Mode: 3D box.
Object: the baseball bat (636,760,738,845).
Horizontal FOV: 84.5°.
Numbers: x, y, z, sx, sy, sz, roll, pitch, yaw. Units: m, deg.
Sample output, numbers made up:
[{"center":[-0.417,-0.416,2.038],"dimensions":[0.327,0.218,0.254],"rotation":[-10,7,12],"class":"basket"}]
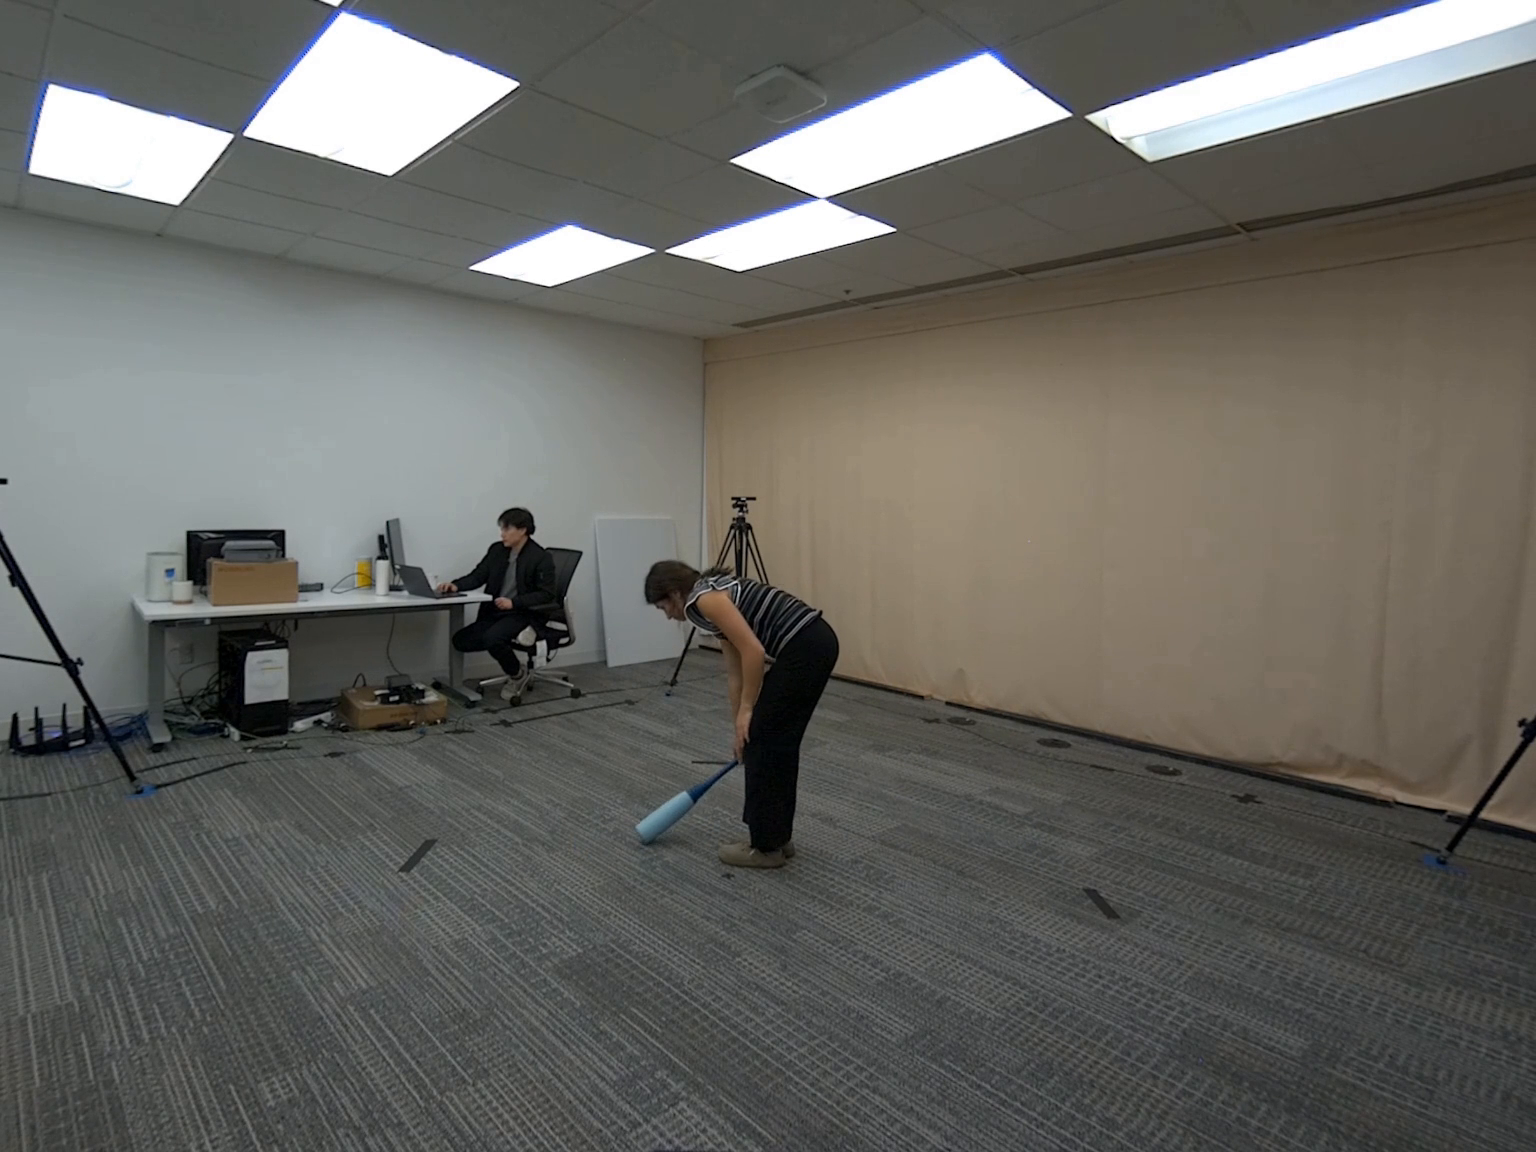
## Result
[{"center":[-0.304,0.895,3.437],"dimensions":[0.541,0.088,0.091],"rotation":[-35,16,-15],"class":"baseball bat"}]
